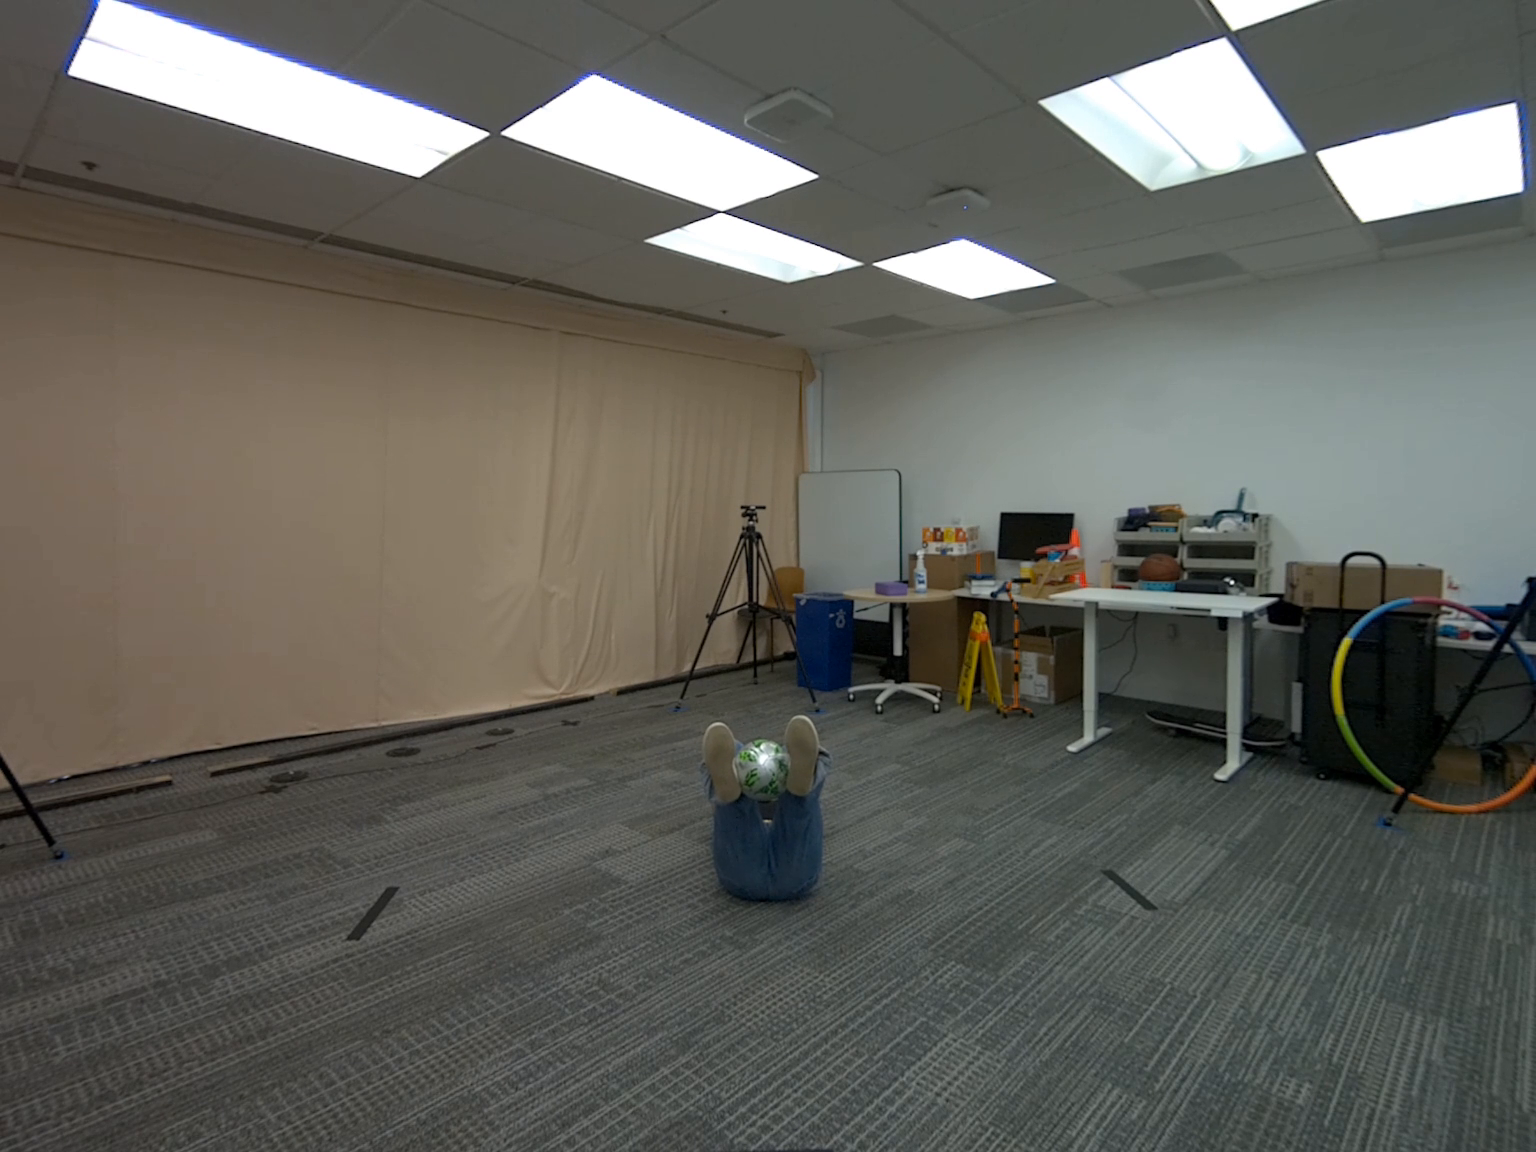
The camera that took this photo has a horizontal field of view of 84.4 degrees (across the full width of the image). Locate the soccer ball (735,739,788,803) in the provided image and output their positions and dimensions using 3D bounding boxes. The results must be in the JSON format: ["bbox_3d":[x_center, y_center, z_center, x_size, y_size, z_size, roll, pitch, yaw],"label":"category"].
[{"bbox_3d":[-0.007,0.616,2.636,0.187,0.187,0.188,3,4,-2],"label":"soccer ball"}]
